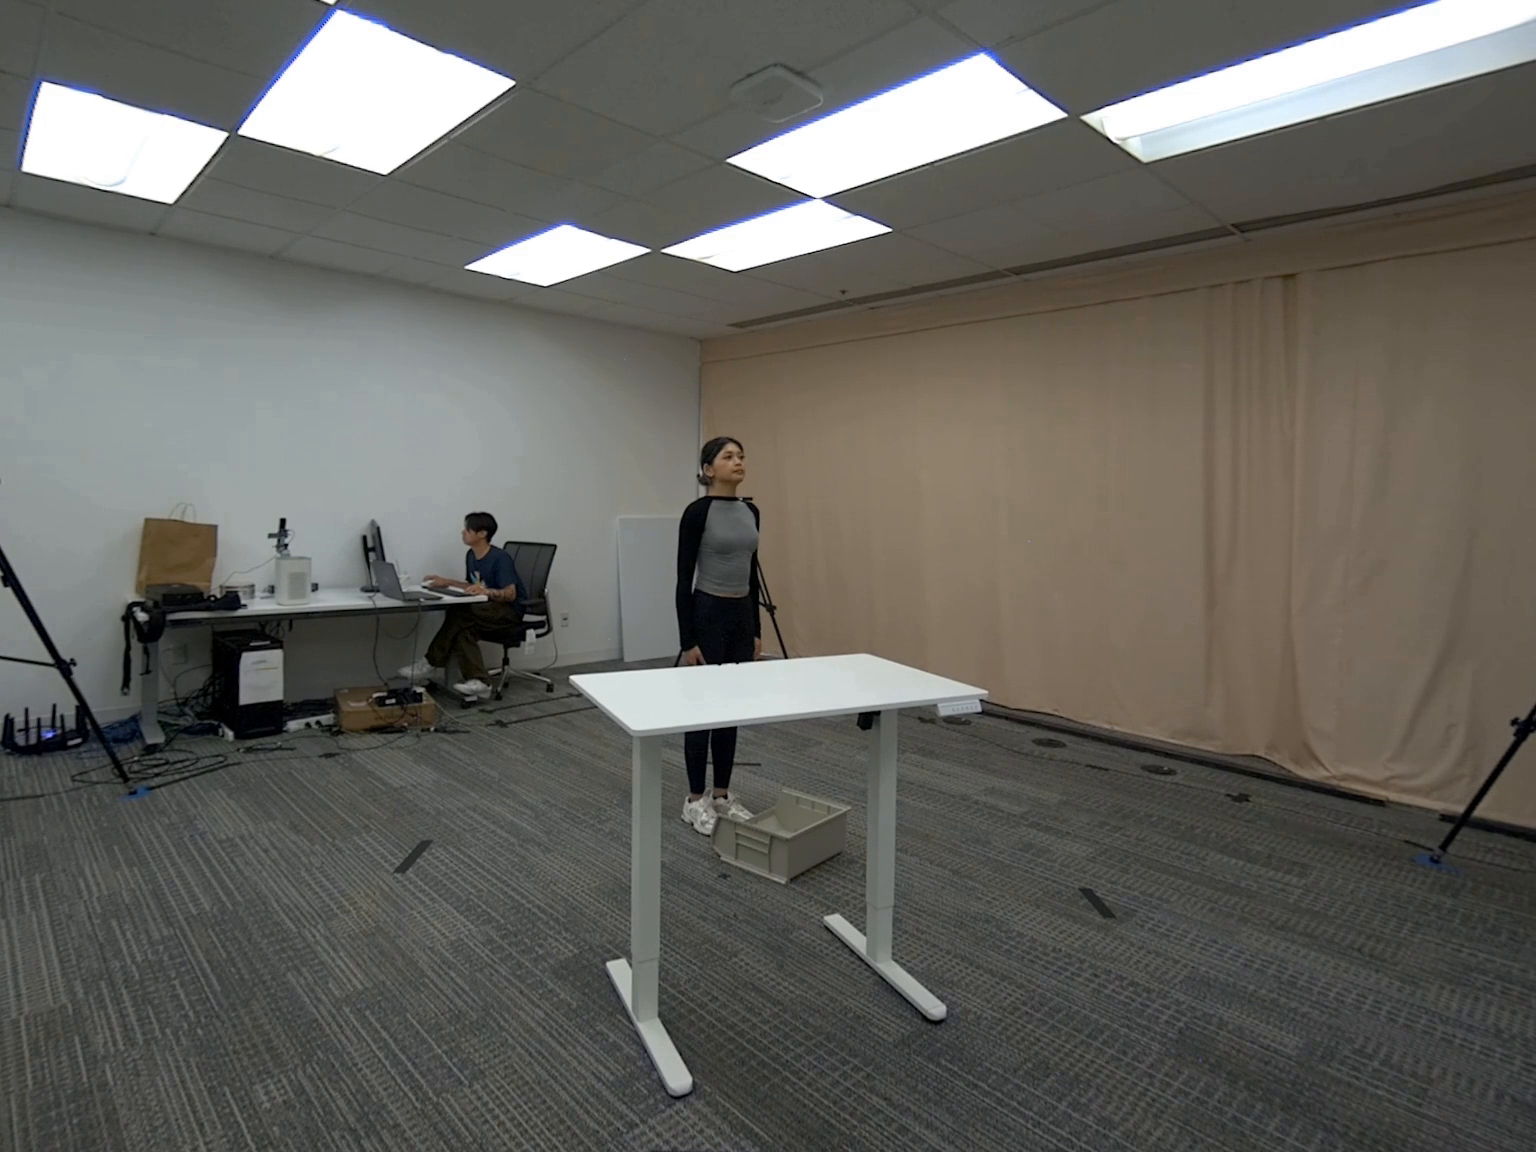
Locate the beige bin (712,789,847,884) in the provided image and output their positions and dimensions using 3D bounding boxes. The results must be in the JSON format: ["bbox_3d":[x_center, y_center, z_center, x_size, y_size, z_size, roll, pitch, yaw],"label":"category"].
[{"bbox_3d":[0.048,1.005,3.306,0.387,0.188,0.413,6,6,39],"label":"beige bin"}]
